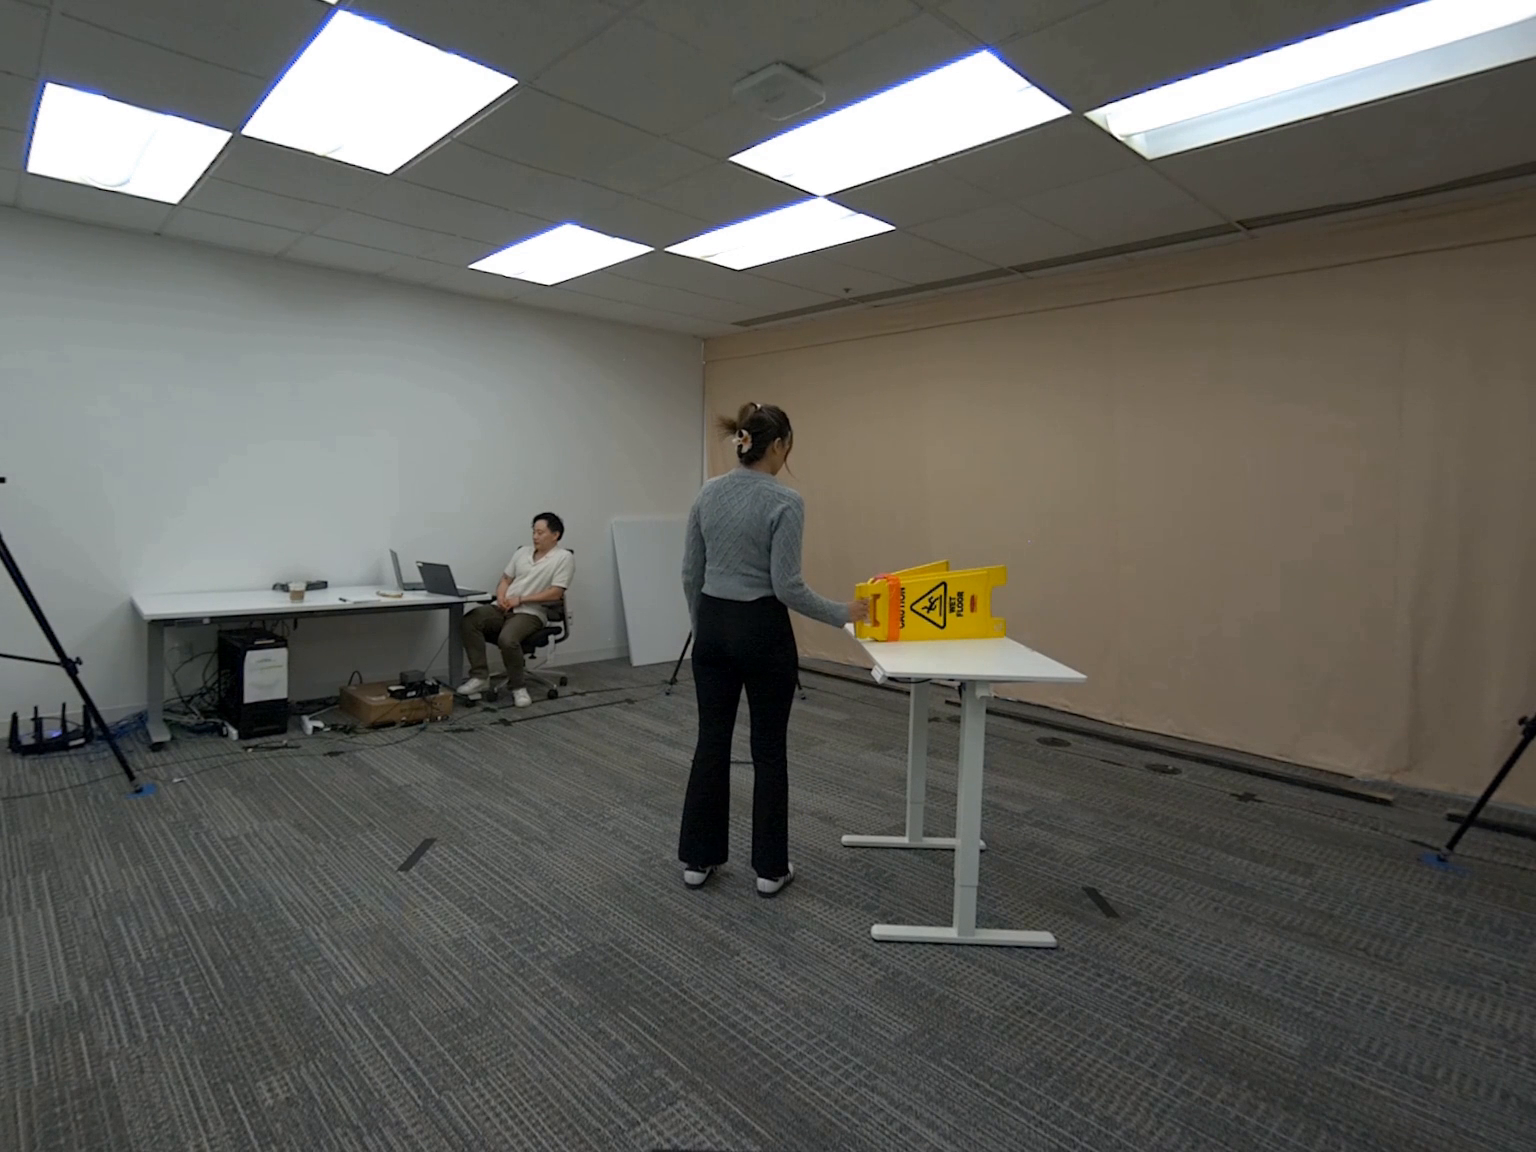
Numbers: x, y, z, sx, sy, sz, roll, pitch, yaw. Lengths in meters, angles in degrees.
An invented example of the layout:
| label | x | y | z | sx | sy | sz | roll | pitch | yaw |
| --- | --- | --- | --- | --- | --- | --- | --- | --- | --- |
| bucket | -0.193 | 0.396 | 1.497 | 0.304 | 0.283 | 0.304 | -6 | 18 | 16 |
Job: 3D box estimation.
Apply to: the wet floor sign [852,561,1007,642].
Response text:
| label | x | y | z | sx | sy | sz | roll | pitch | yaw |
| --- | --- | --- | --- | --- | --- | --- | --- | --- | --- |
| wet floor sign | 0.564 | 0.105 | 3.182 | 0.632 | 0.281 | 0.297 | -4 | 7 | -35 |
